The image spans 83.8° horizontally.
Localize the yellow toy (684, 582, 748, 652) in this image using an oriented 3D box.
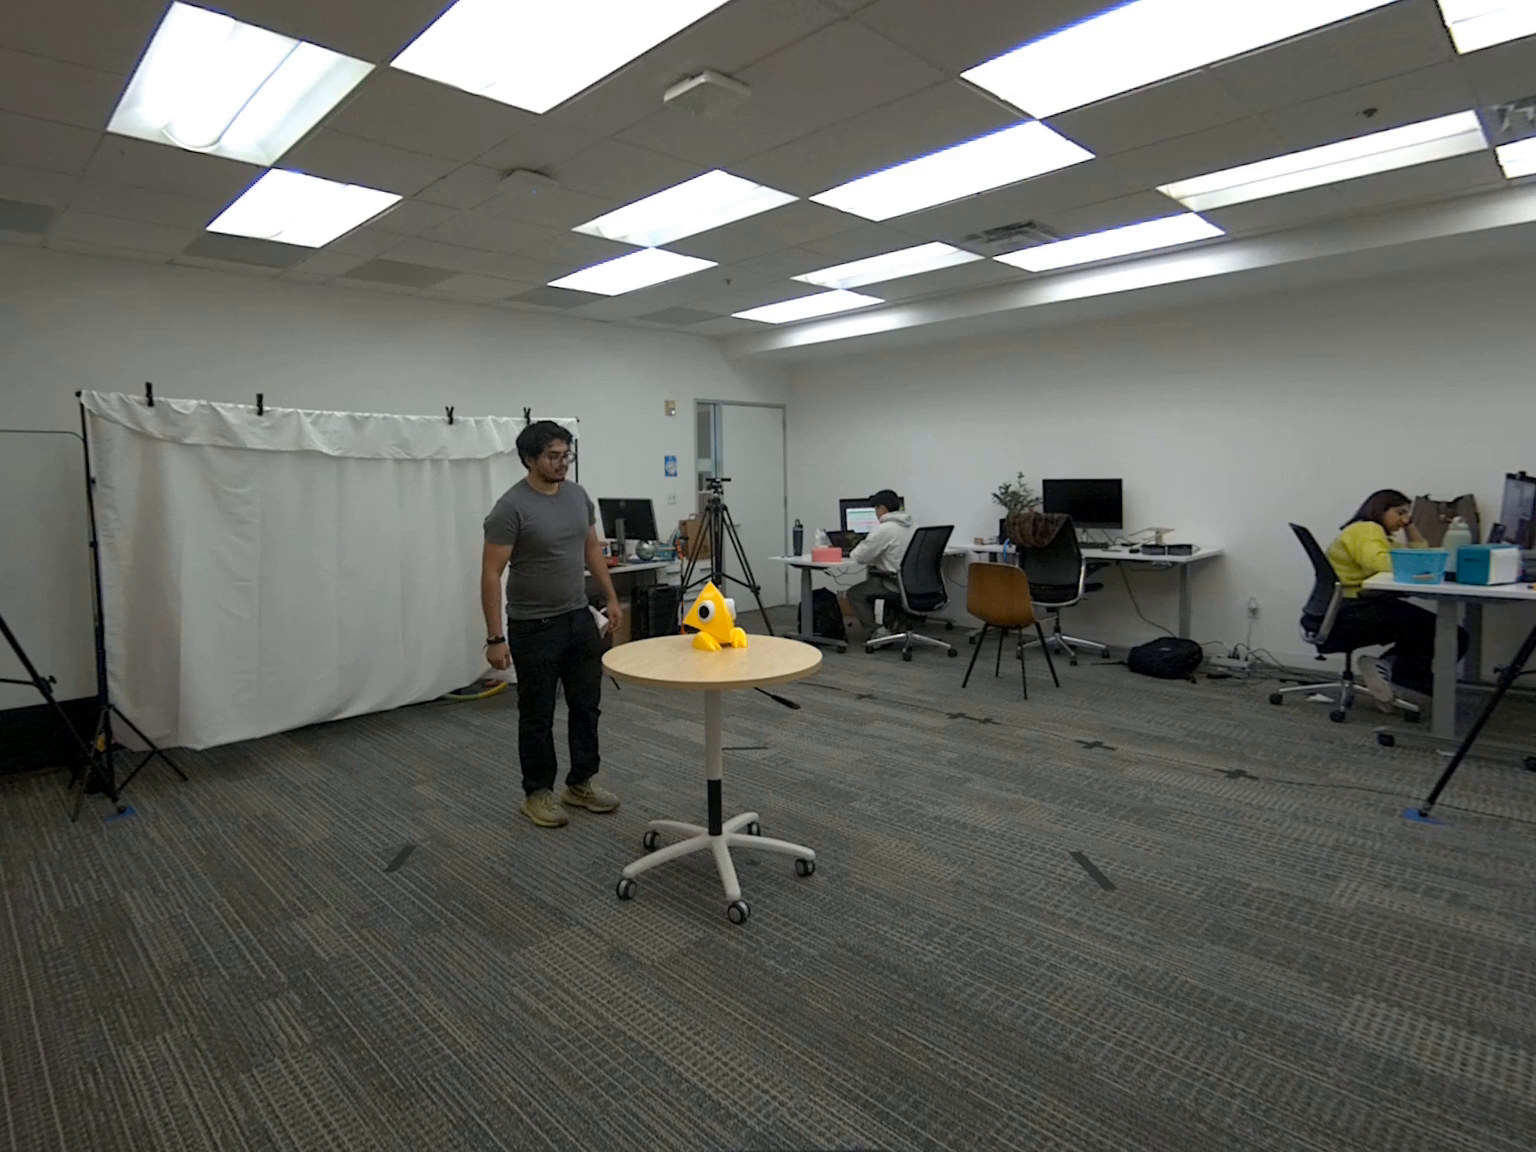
[{"bbox_3d":[-0.179,0.140,3.148,0.200,0.230,0.198,-3,6,-29],"label":"yellow toy"}]
